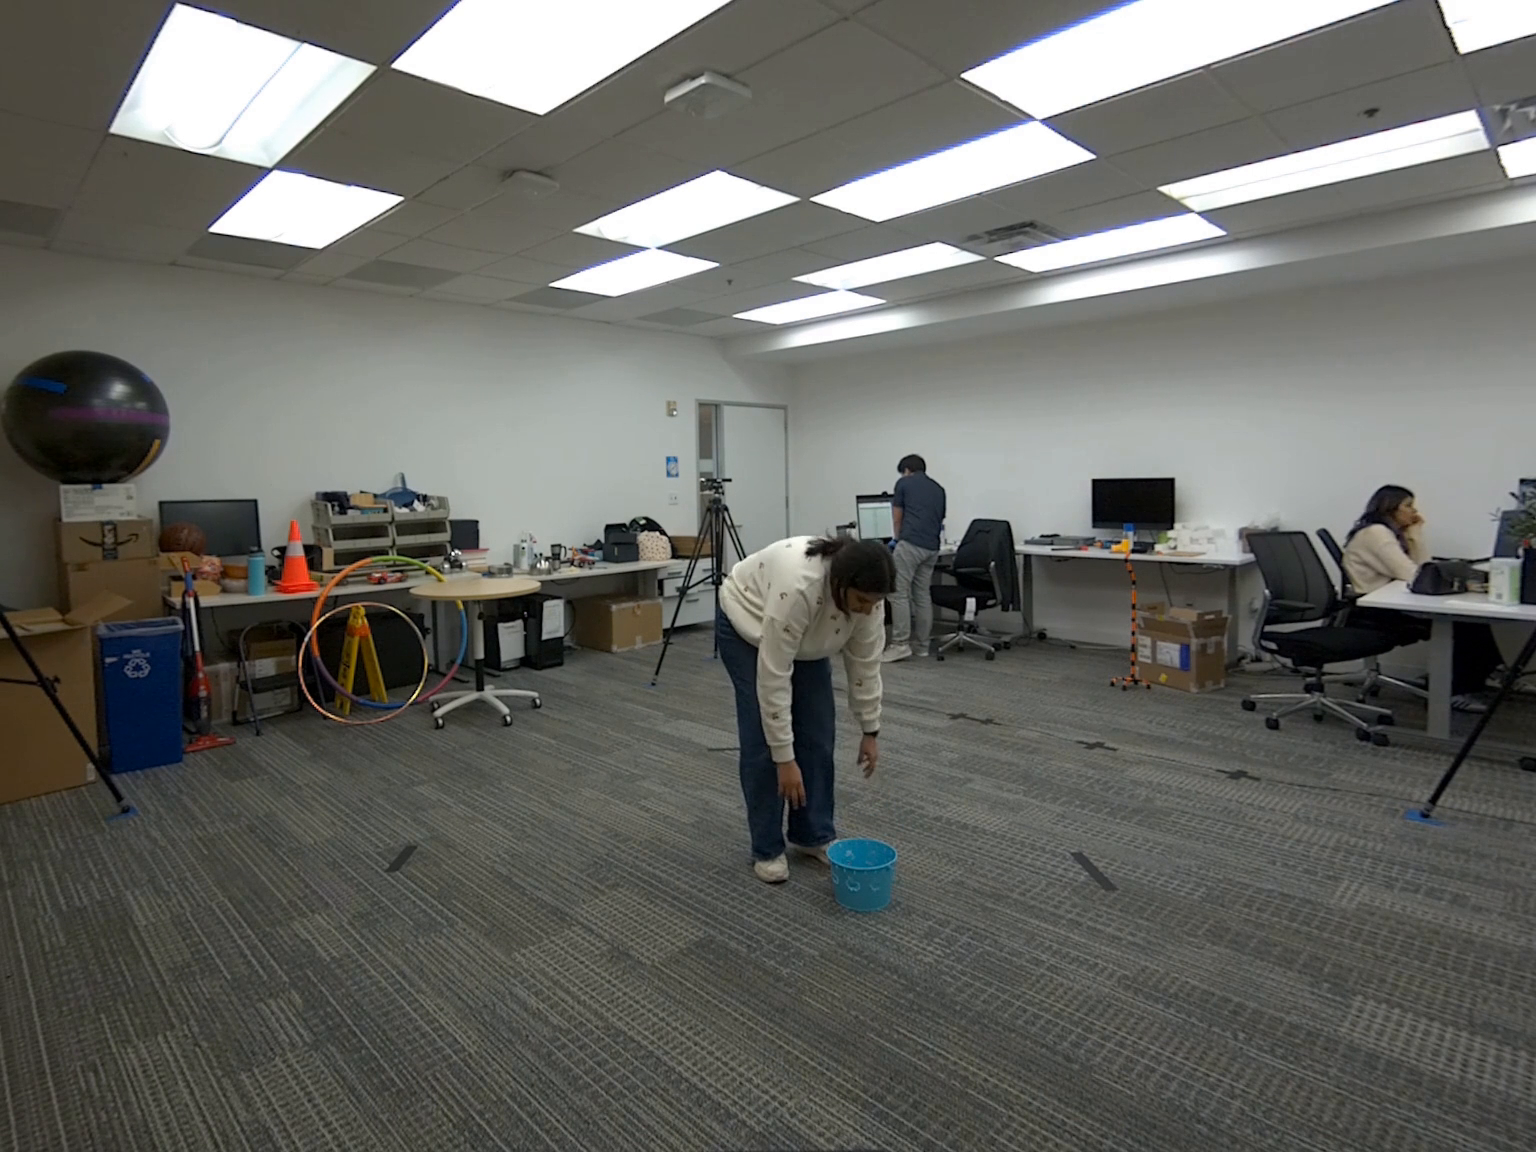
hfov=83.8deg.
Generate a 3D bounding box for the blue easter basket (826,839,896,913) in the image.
[{"bbox_3d":[0.324,0.991,2.831,0.243,0.155,0.245,-2,6,-2],"label":"blue easter basket"}]
